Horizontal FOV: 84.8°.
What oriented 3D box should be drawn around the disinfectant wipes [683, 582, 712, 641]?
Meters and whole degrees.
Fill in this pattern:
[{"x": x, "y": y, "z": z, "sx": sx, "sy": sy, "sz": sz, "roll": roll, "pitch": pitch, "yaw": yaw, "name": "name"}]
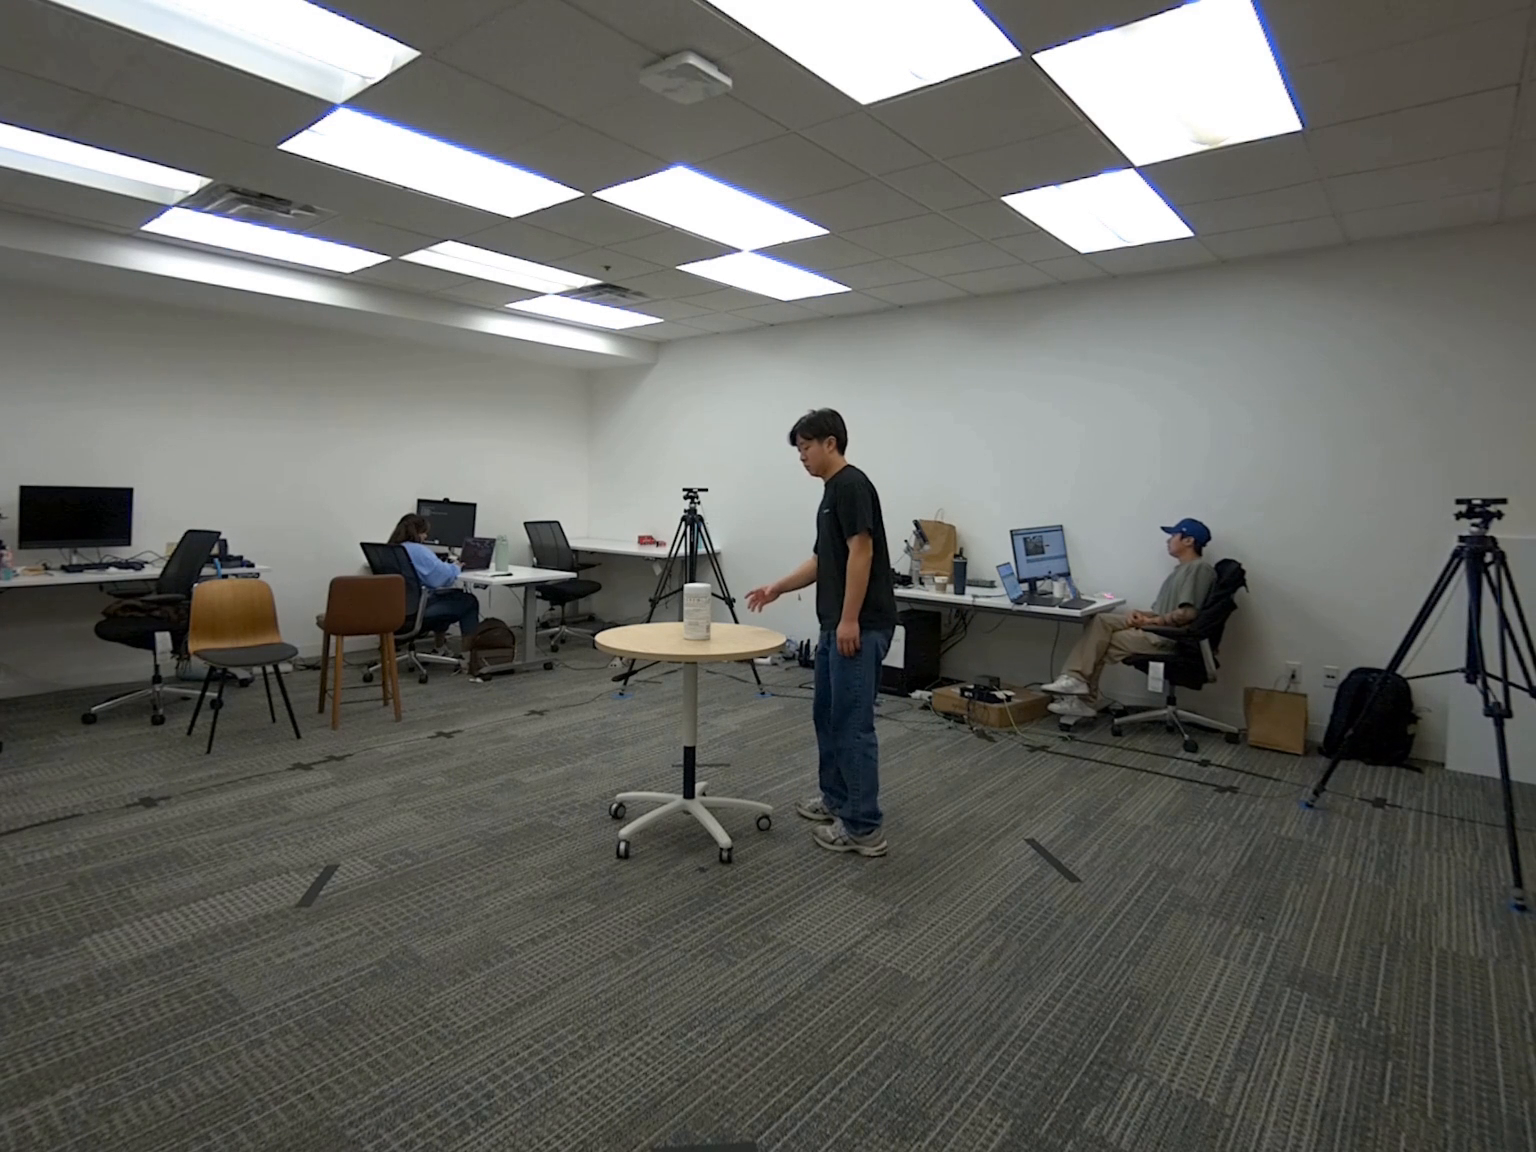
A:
[{"x": -0.290, "y": 0.138, "z": 3.383, "sx": 0.118, "sy": 0.217, "sz": 0.118, "roll": 1, "pitch": 2, "yaw": -2, "name": "disinfectant wipes"}]
